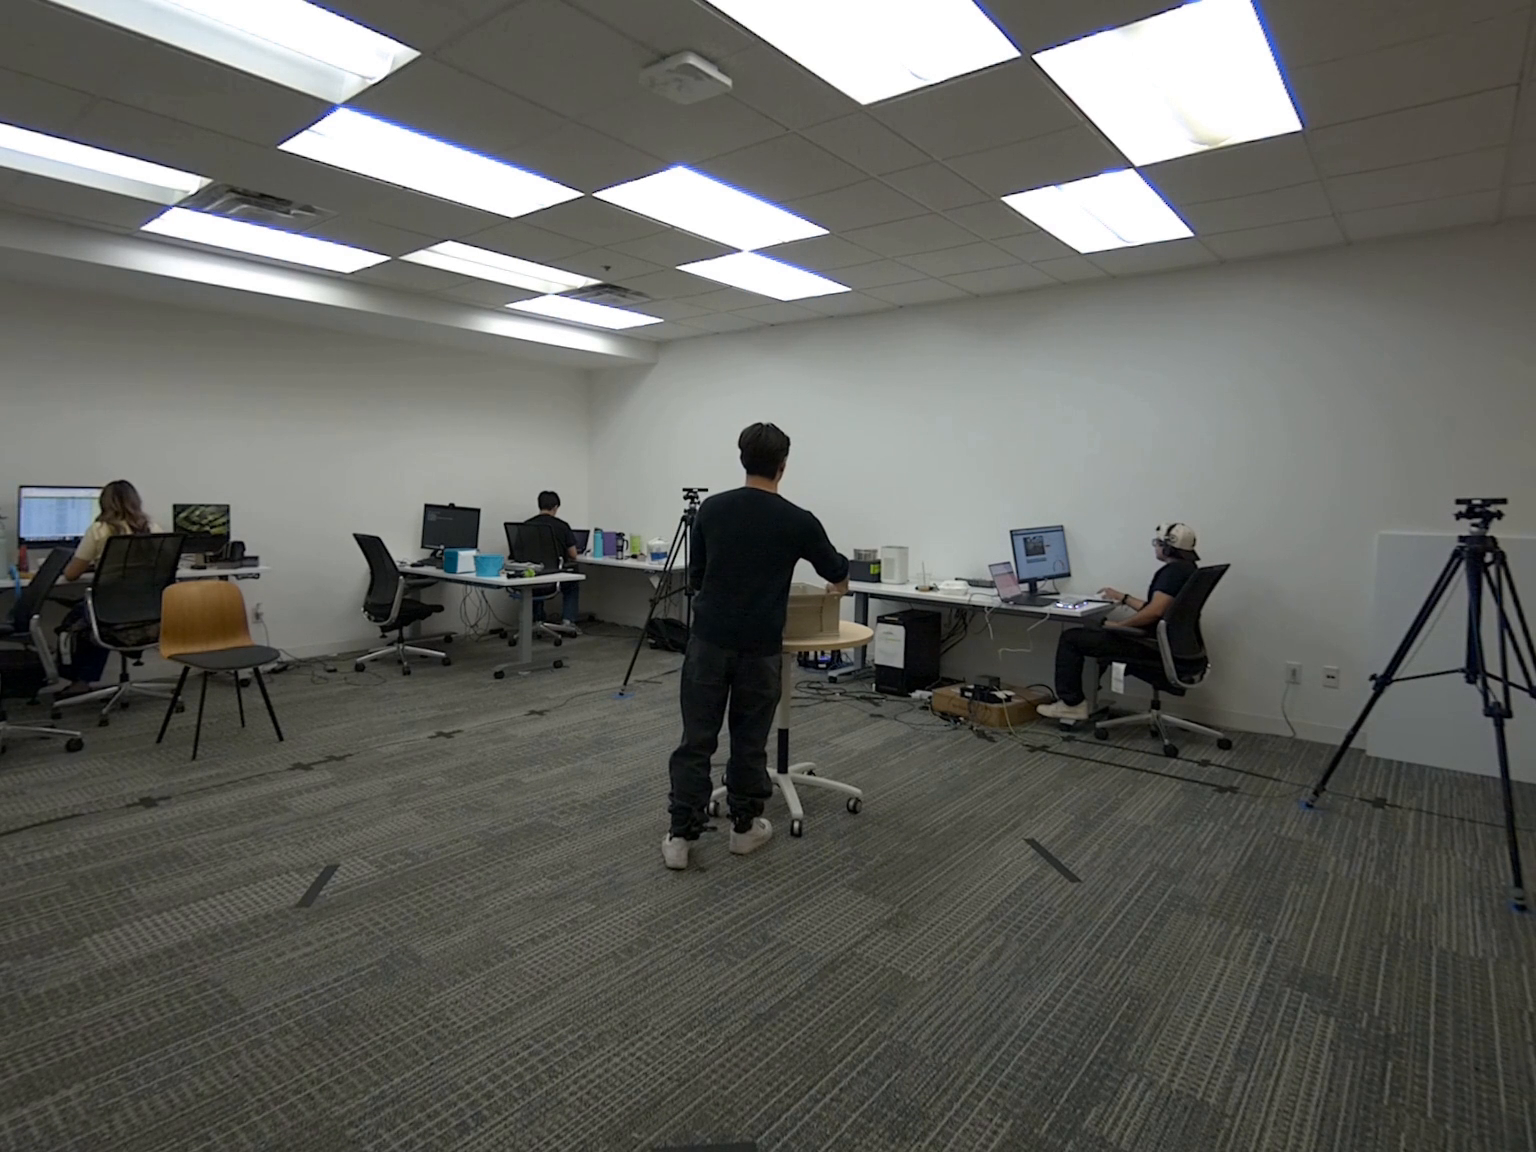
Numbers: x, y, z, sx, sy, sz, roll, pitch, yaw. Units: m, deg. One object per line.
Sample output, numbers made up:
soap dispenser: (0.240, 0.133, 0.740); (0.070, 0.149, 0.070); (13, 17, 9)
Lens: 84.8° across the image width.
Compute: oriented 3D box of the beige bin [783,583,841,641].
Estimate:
beige bin: (0.080, 0.144, 3.744); (0.372, 0.188, 0.430); (-1, 6, -14)
